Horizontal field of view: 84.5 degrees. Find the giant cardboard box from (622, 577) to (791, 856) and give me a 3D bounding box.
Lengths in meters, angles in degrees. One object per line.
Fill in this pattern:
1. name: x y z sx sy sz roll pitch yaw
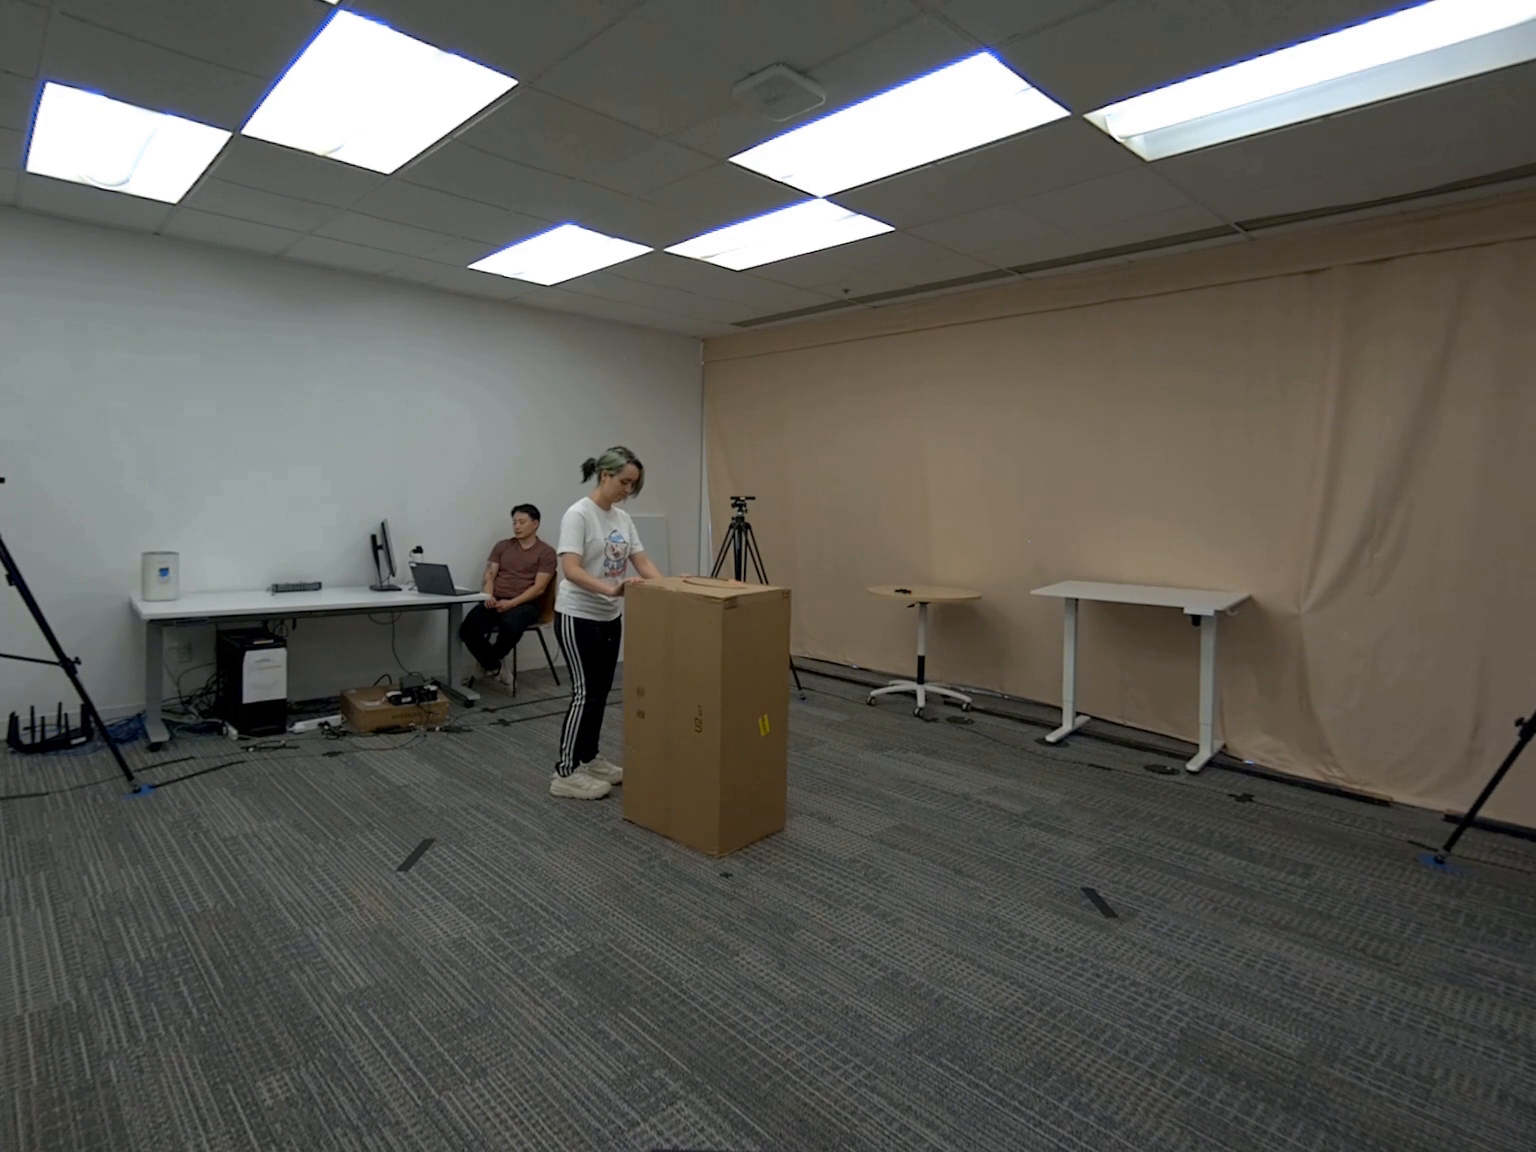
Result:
1. giant cardboard box: -0.267 0.551 3.557 0.599 1.023 0.437 5 6 40
